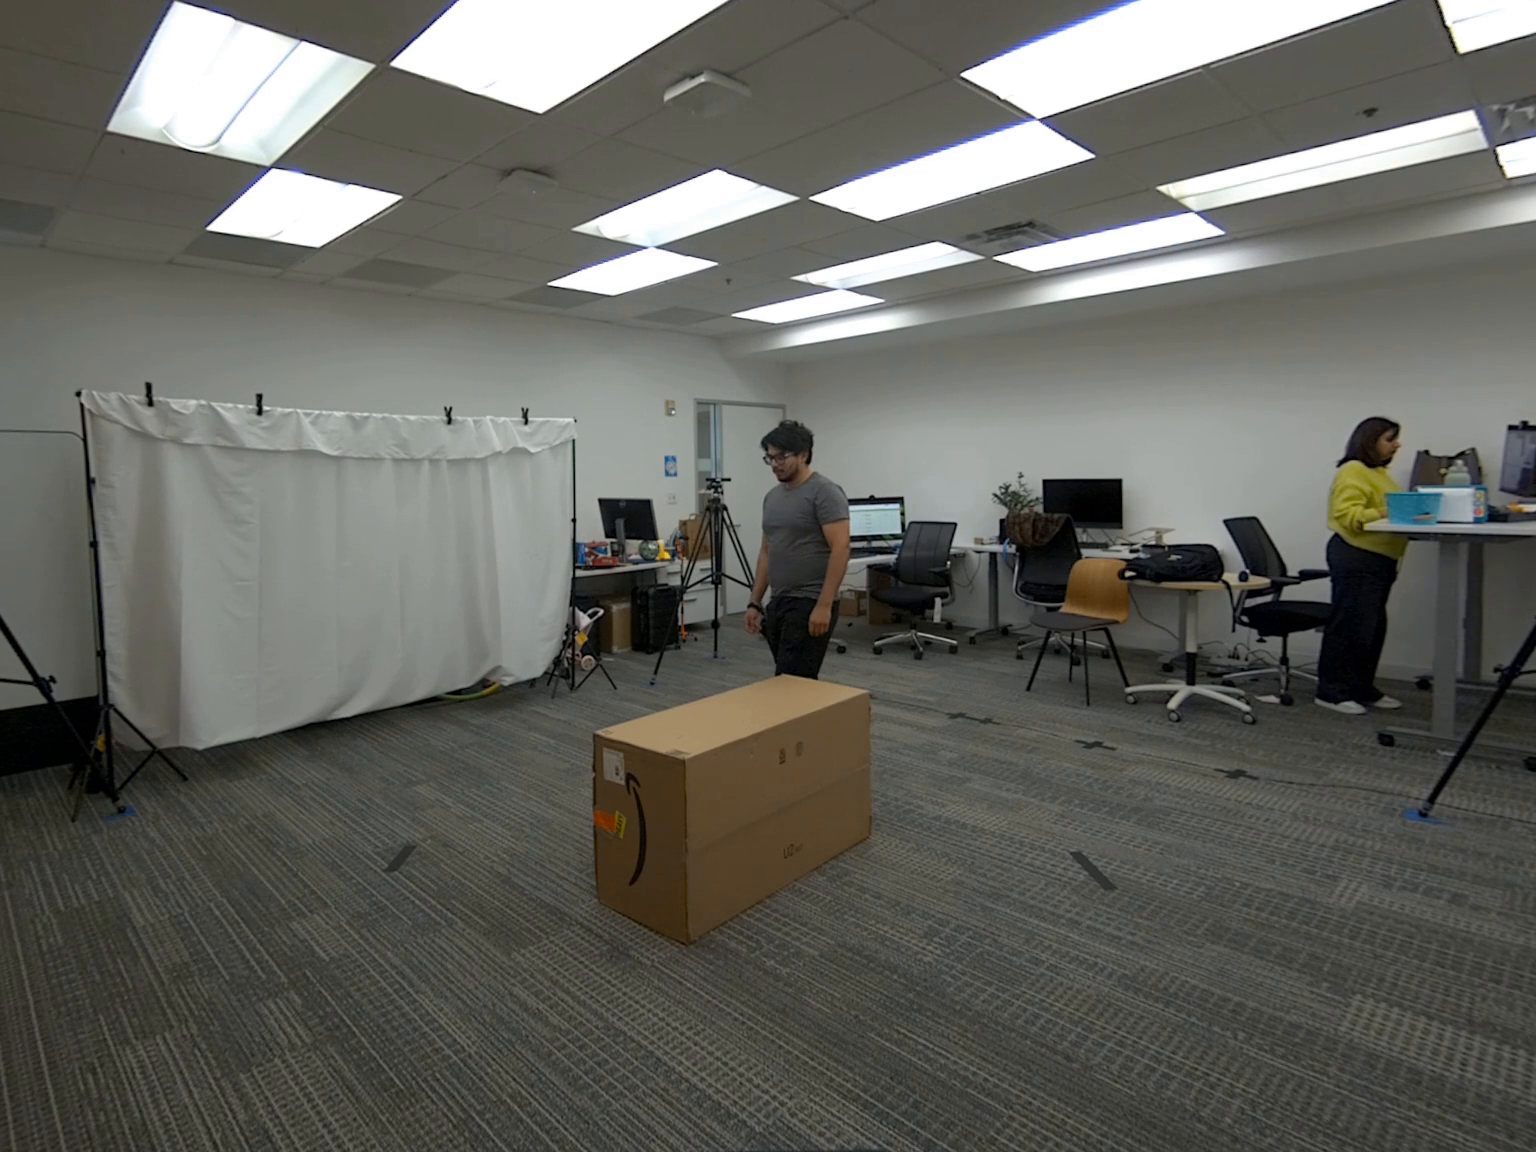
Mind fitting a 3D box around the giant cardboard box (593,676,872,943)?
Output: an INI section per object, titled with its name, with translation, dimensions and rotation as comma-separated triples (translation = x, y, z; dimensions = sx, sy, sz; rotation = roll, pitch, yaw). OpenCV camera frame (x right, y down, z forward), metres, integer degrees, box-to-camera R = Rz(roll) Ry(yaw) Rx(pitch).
[giant cardboard box]
translation = -0.094, 0.757, 3.061
dimensions = 0.439, 0.575, 1.000
rotation = 2, 6, 40
